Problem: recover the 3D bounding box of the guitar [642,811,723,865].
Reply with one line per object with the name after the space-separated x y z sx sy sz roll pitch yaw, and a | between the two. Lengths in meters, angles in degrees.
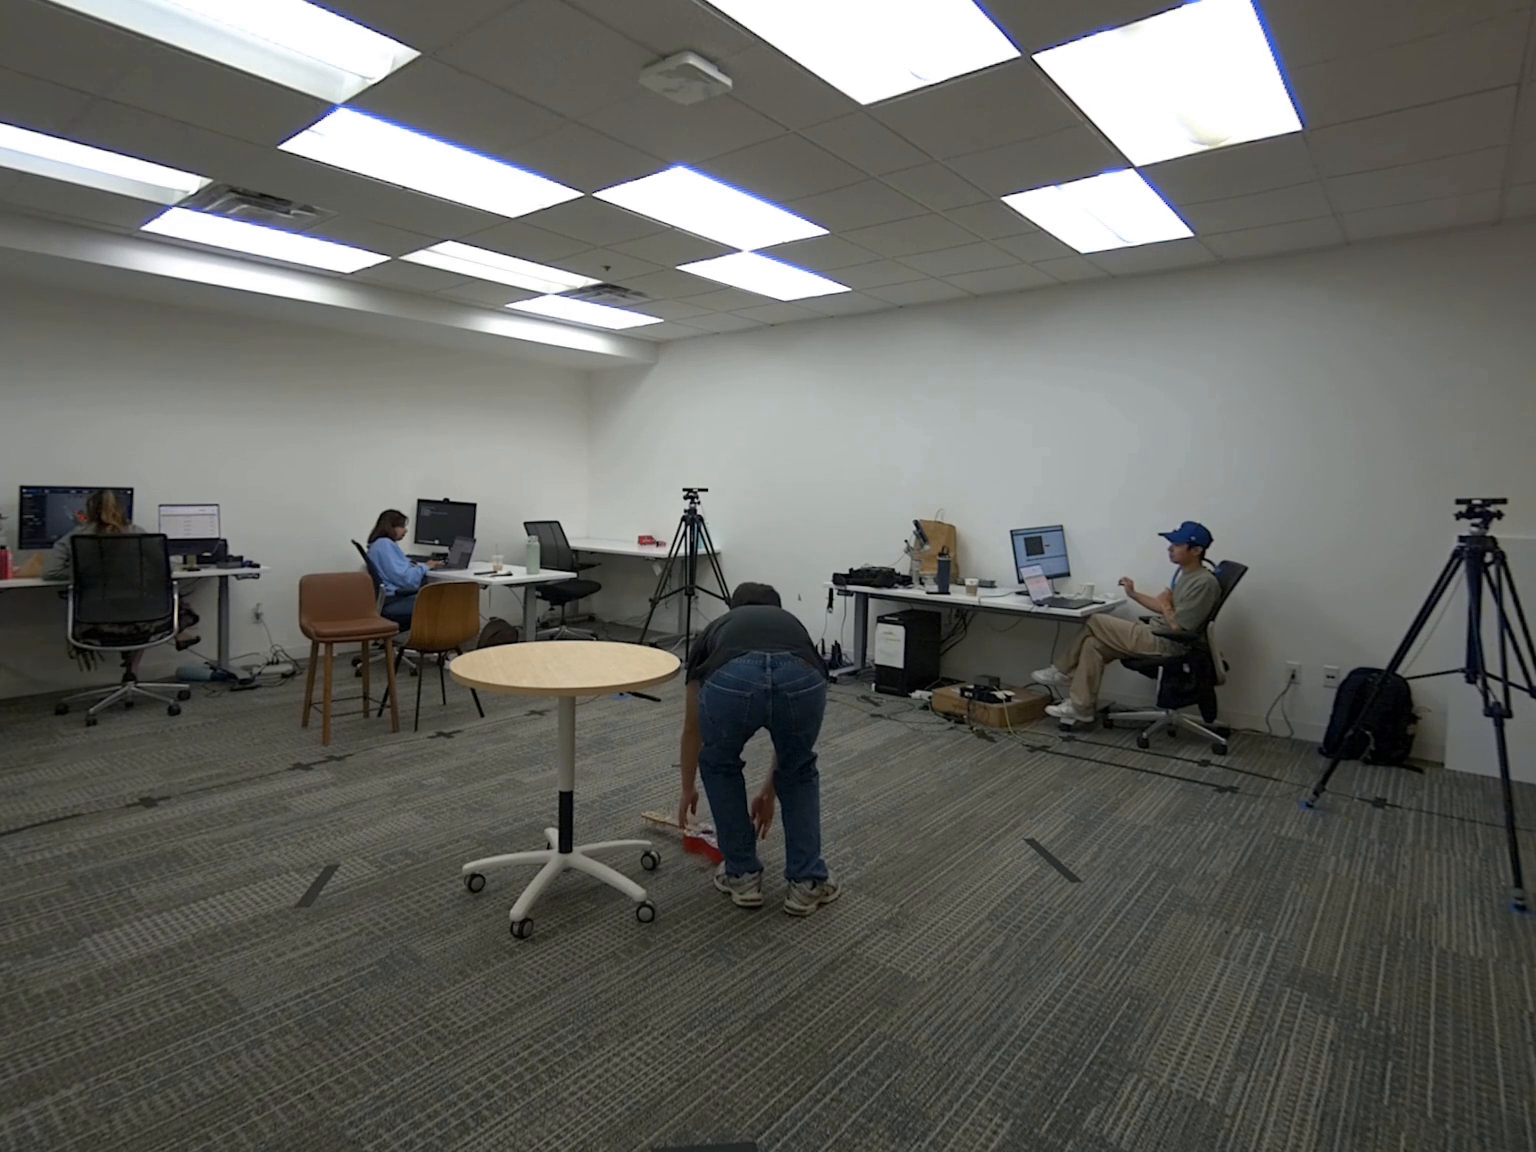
-0.296 1.012 3.369 0.515 0.070 0.187 7 8 42 | guitar
